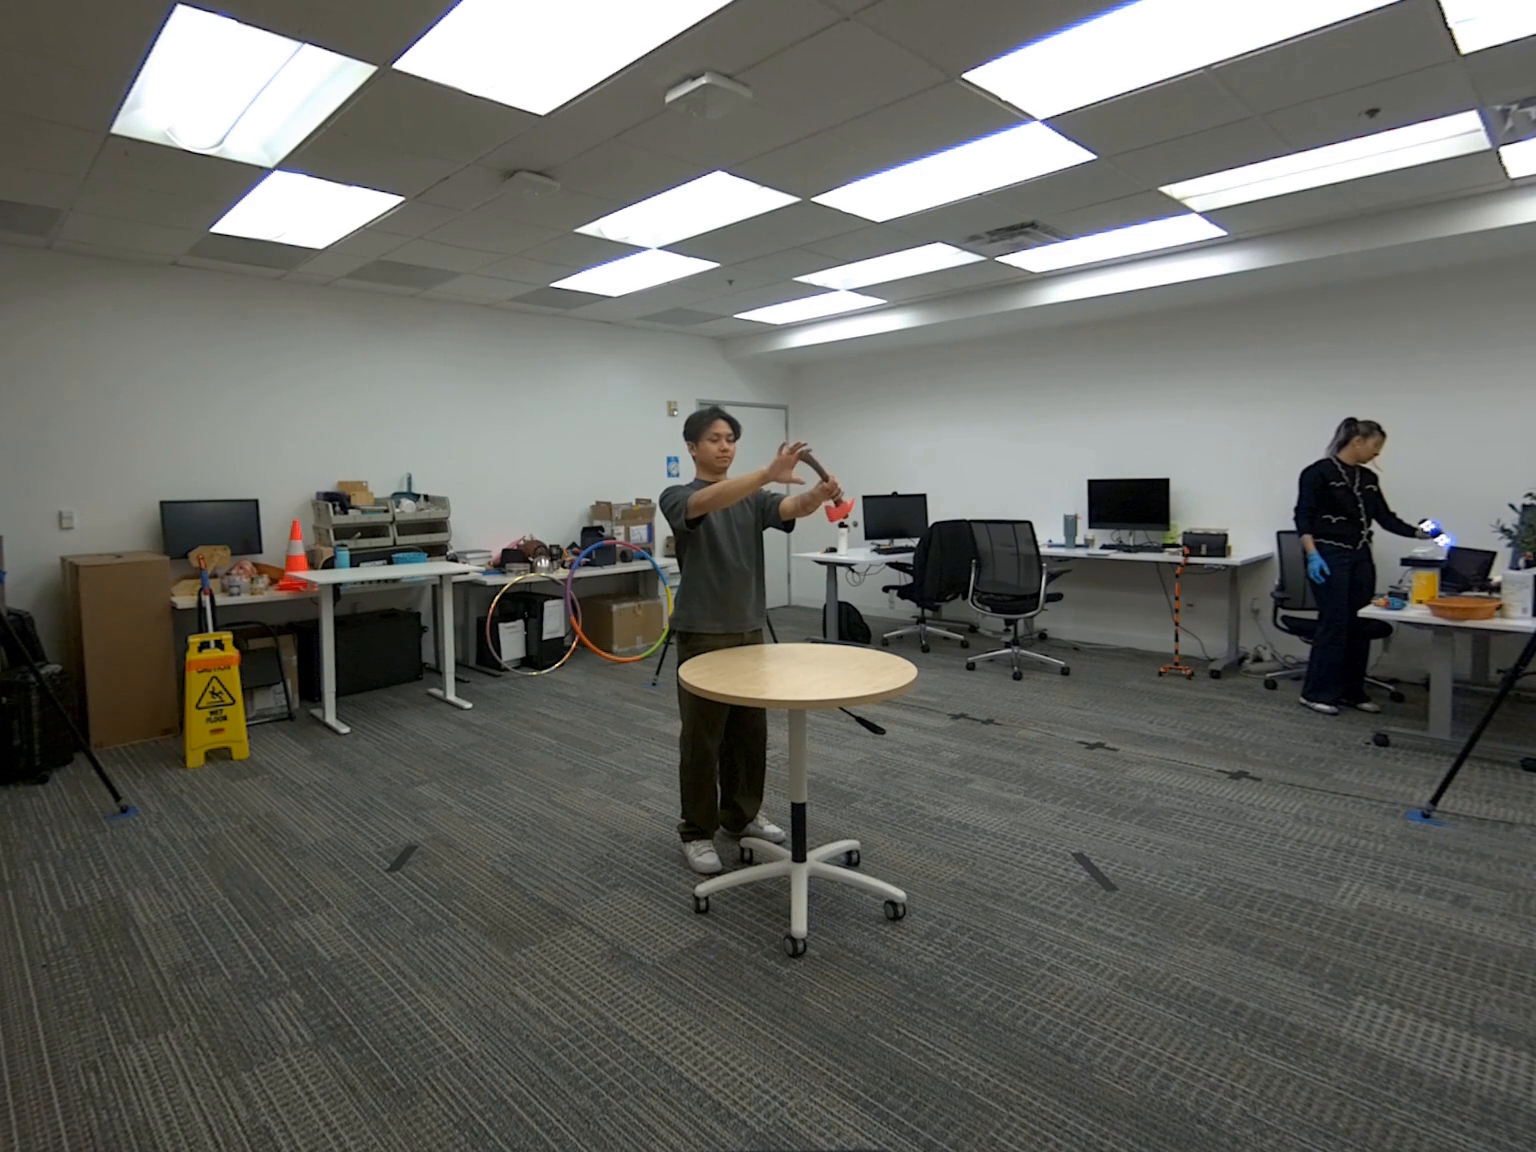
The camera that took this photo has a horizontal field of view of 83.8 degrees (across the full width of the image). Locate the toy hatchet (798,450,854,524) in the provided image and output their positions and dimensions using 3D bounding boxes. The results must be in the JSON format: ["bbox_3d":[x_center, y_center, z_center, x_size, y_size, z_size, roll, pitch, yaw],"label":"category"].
[{"bbox_3d":[0.173,-0.274,2.767,0.262,0.131,0.030,40,-18,-26],"label":"toy hatchet"}]
